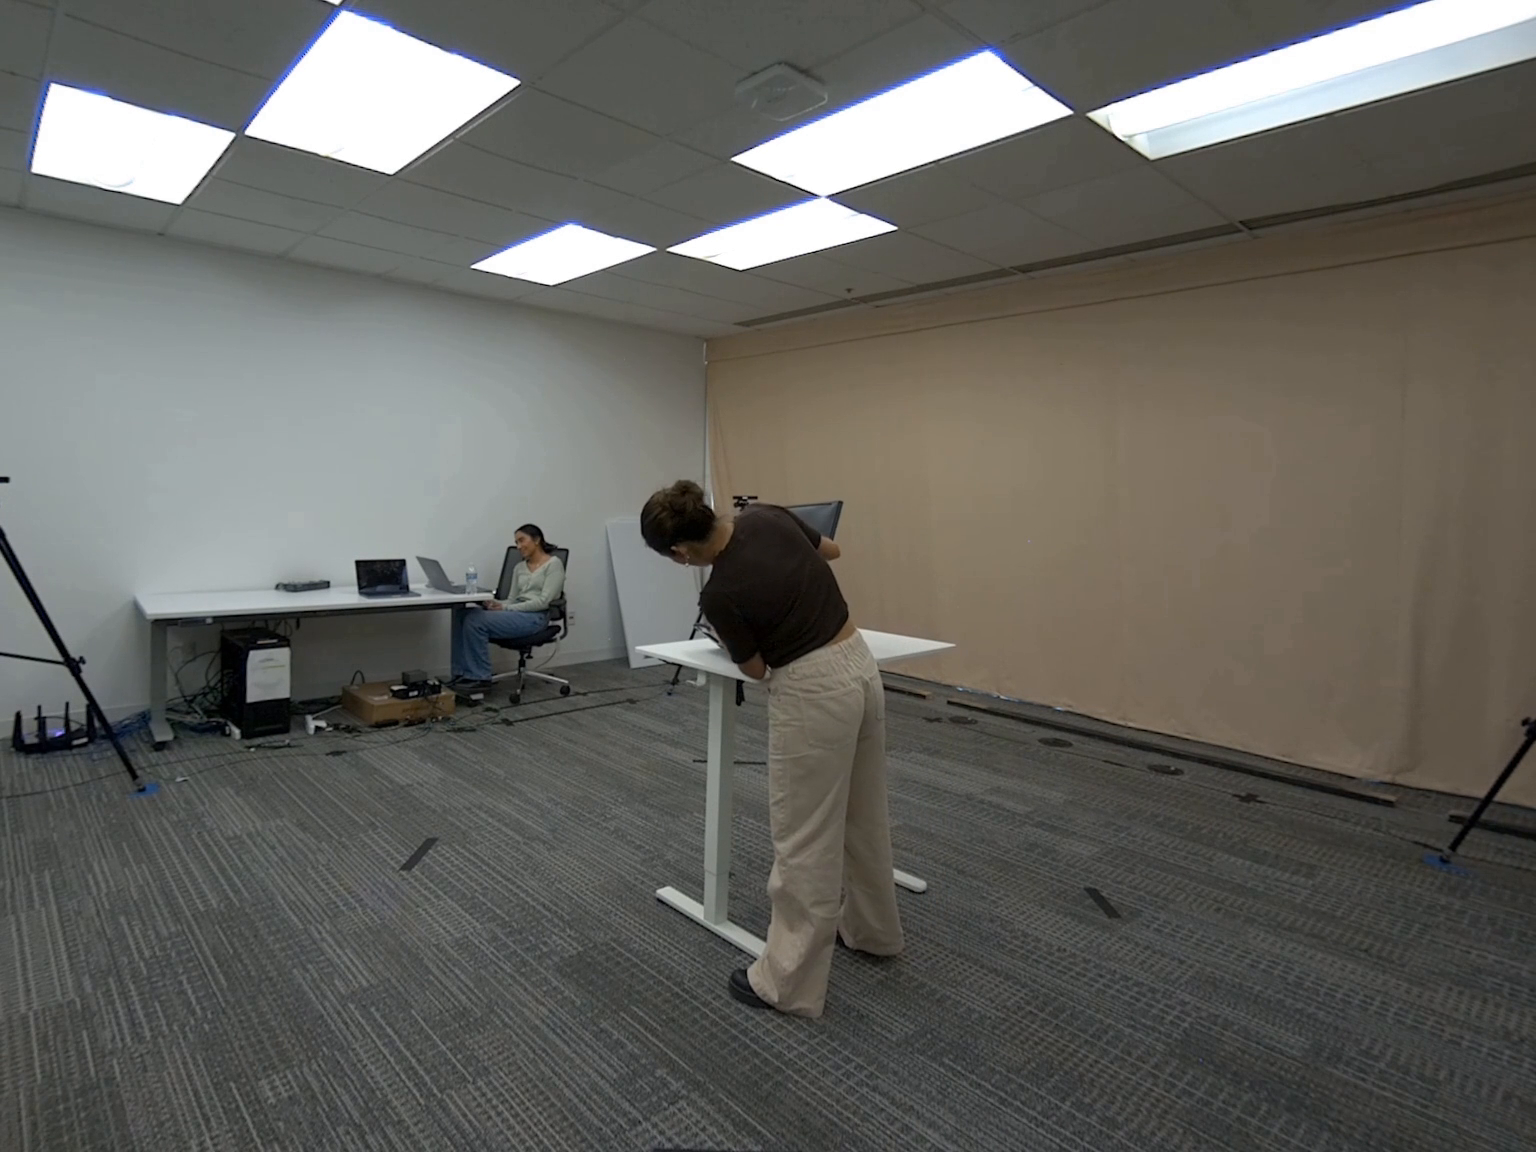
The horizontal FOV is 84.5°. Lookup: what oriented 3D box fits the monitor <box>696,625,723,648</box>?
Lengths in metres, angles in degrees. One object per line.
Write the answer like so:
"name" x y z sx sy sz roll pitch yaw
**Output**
"monitor" -0.019 0.002 2.727 0.182 0.525 0.551 34 -15 -28
